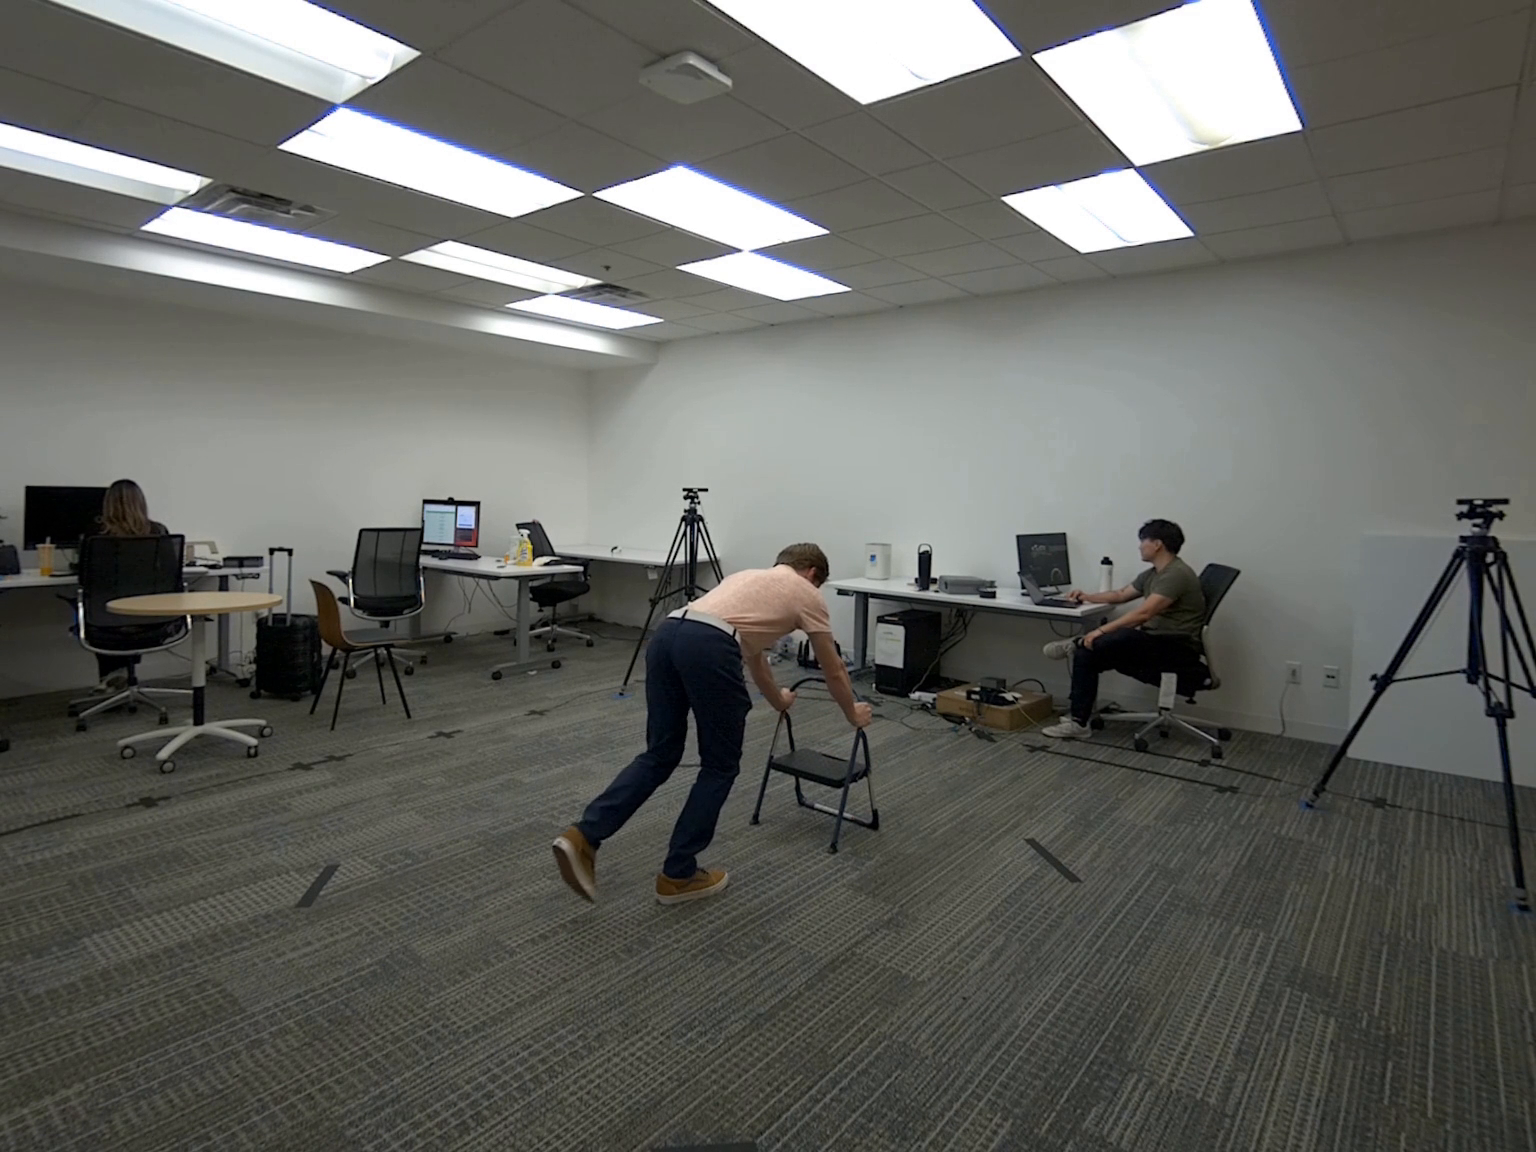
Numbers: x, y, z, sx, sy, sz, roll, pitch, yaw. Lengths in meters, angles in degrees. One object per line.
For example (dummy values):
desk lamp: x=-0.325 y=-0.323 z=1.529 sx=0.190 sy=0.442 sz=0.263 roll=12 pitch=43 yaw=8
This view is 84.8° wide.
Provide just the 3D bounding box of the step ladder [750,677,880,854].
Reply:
step ladder: x=0.193 y=0.737 z=3.522 sx=0.445 sy=0.604 sz=0.339 roll=4 pitch=4 yaw=40
